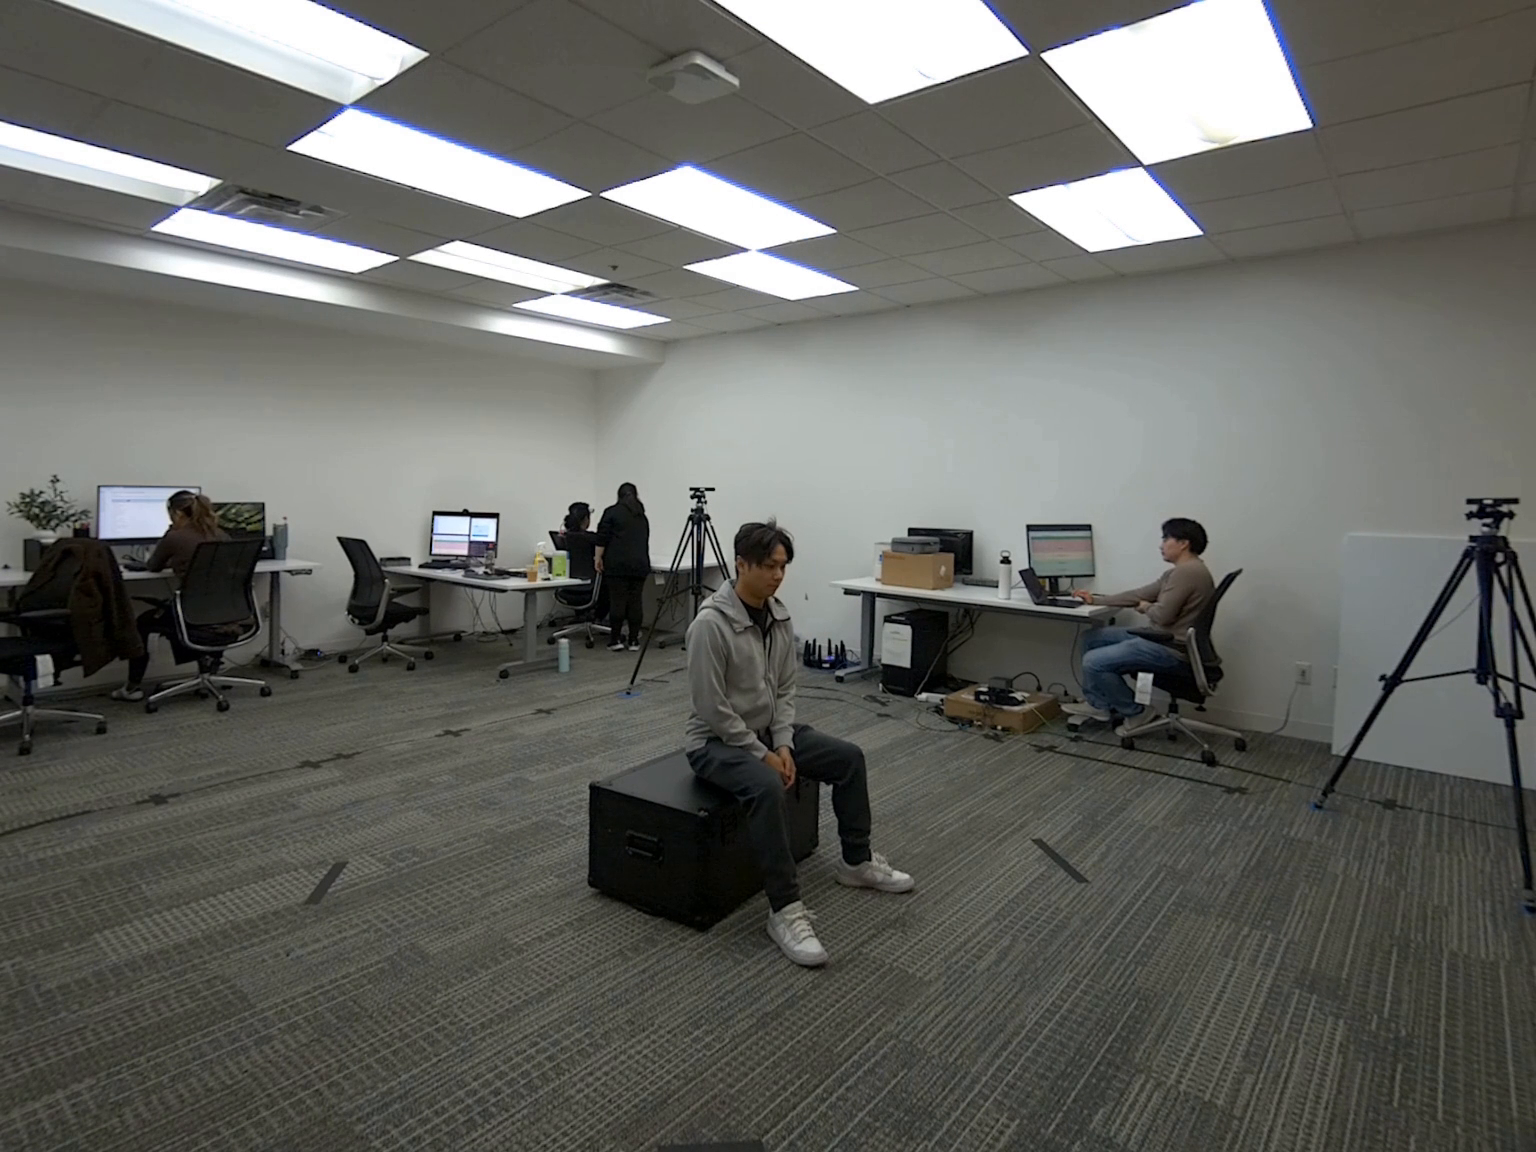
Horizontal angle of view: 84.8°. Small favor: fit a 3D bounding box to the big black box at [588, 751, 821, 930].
[{"bbox_3d":[-0.239,0.887,3.059,0.537,0.395,0.838,4,5,32],"label":"big black box"}]
